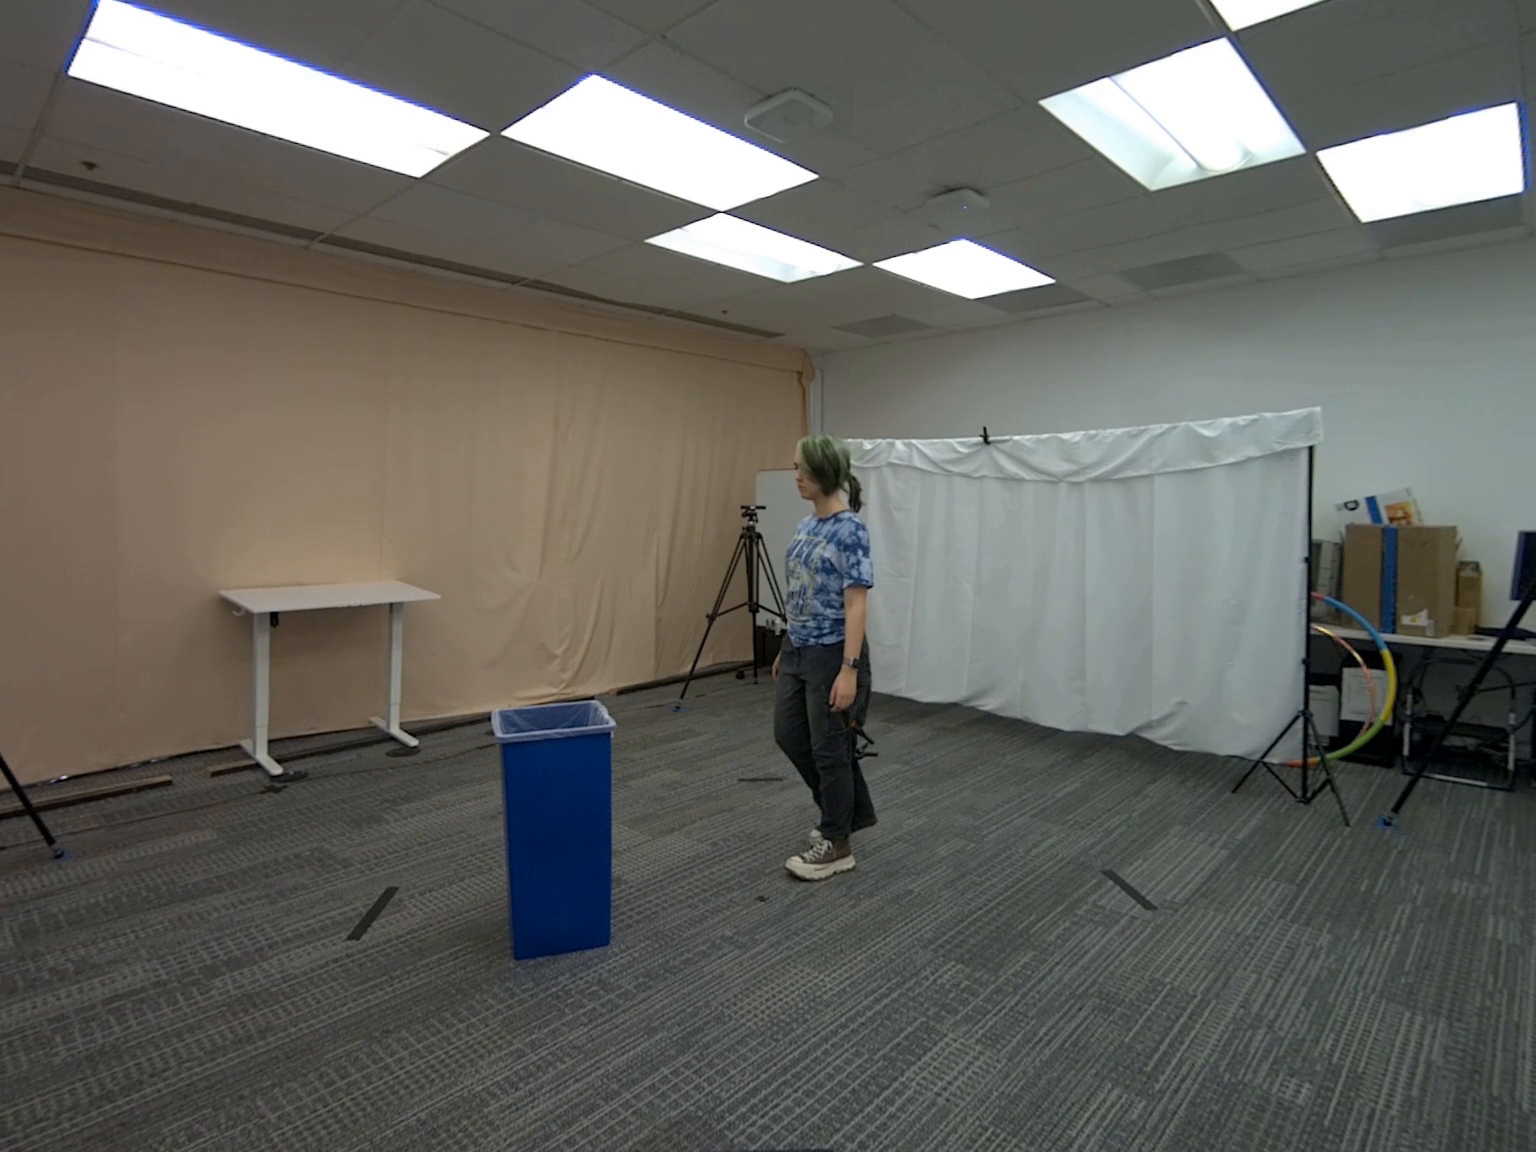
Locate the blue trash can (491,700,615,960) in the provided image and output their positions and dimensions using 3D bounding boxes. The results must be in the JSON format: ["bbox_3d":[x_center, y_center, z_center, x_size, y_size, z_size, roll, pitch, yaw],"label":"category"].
[{"bbox_3d":[-0.702,0.815,2.744,0.367,0.712,0.386,-2,3,-19],"label":"blue trash can"}]
